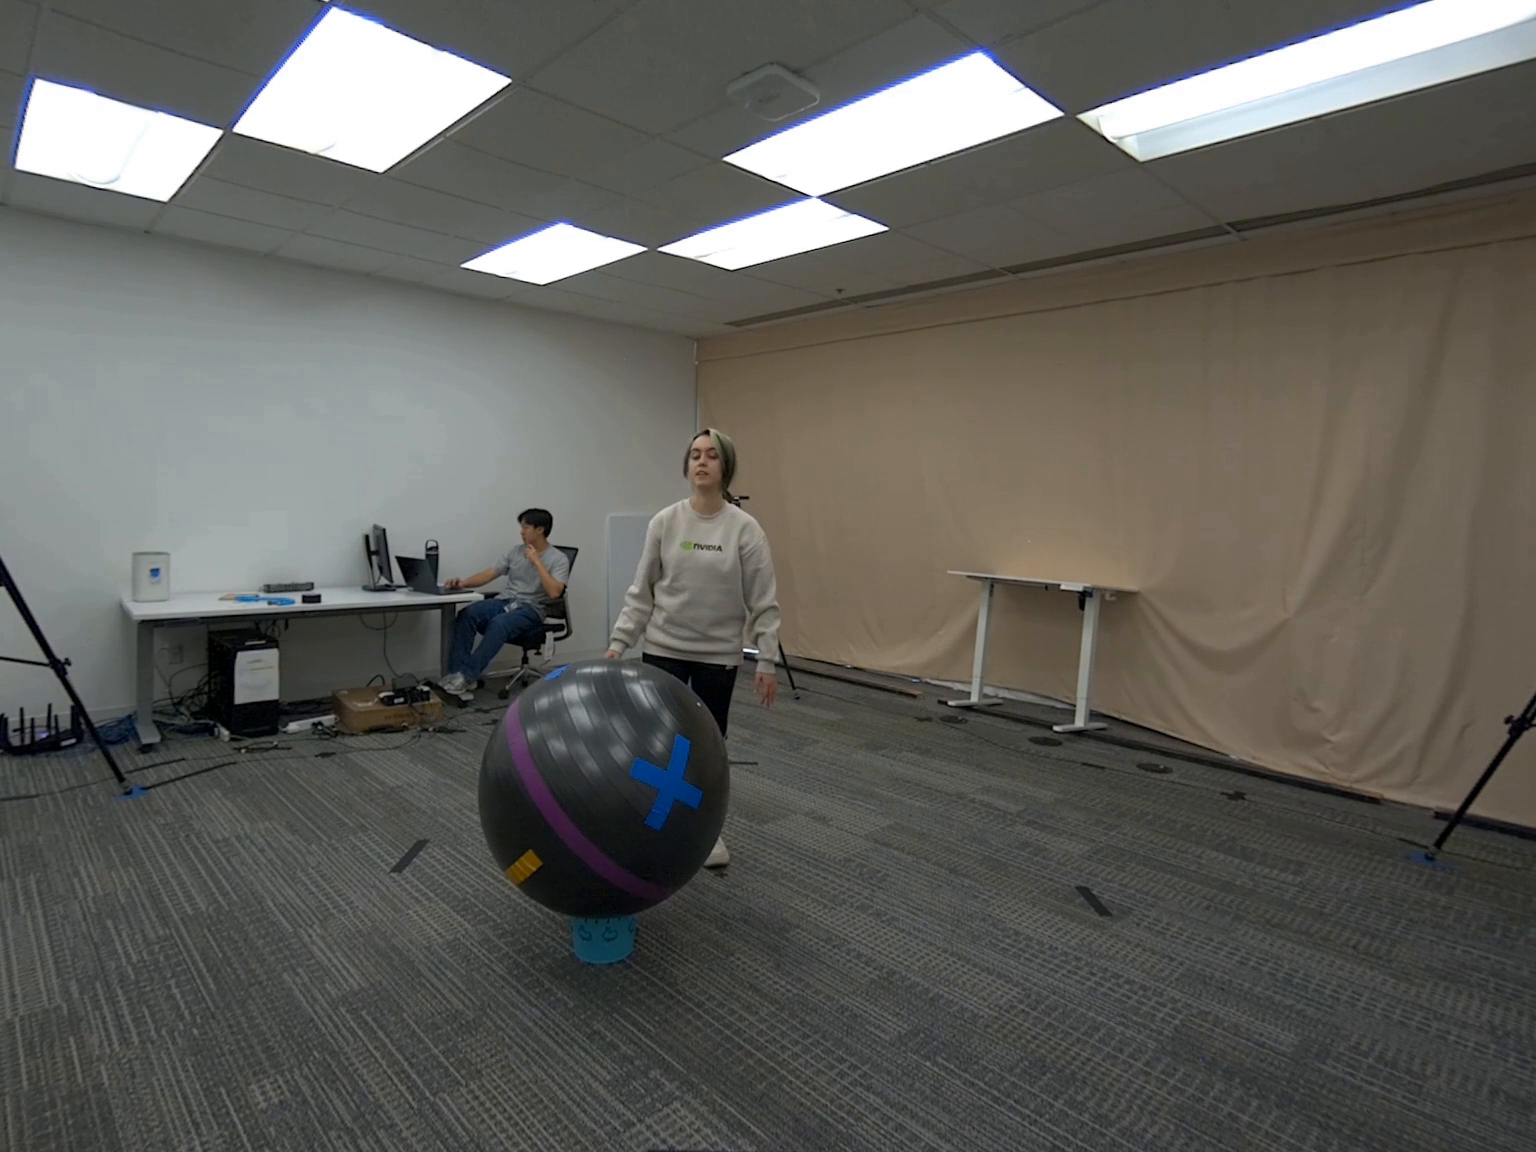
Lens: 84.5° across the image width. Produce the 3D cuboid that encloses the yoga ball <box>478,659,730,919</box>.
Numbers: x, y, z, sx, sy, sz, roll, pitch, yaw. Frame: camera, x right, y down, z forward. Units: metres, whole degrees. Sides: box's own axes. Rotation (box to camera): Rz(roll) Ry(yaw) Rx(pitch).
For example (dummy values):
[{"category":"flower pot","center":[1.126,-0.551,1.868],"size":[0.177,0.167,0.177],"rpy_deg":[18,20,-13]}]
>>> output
[{"category":"yoga ball","center":[-0.495,0.634,2.558],"size":[0.757,0.756,0.761],"rpy_deg":[1,4,-1]}]
